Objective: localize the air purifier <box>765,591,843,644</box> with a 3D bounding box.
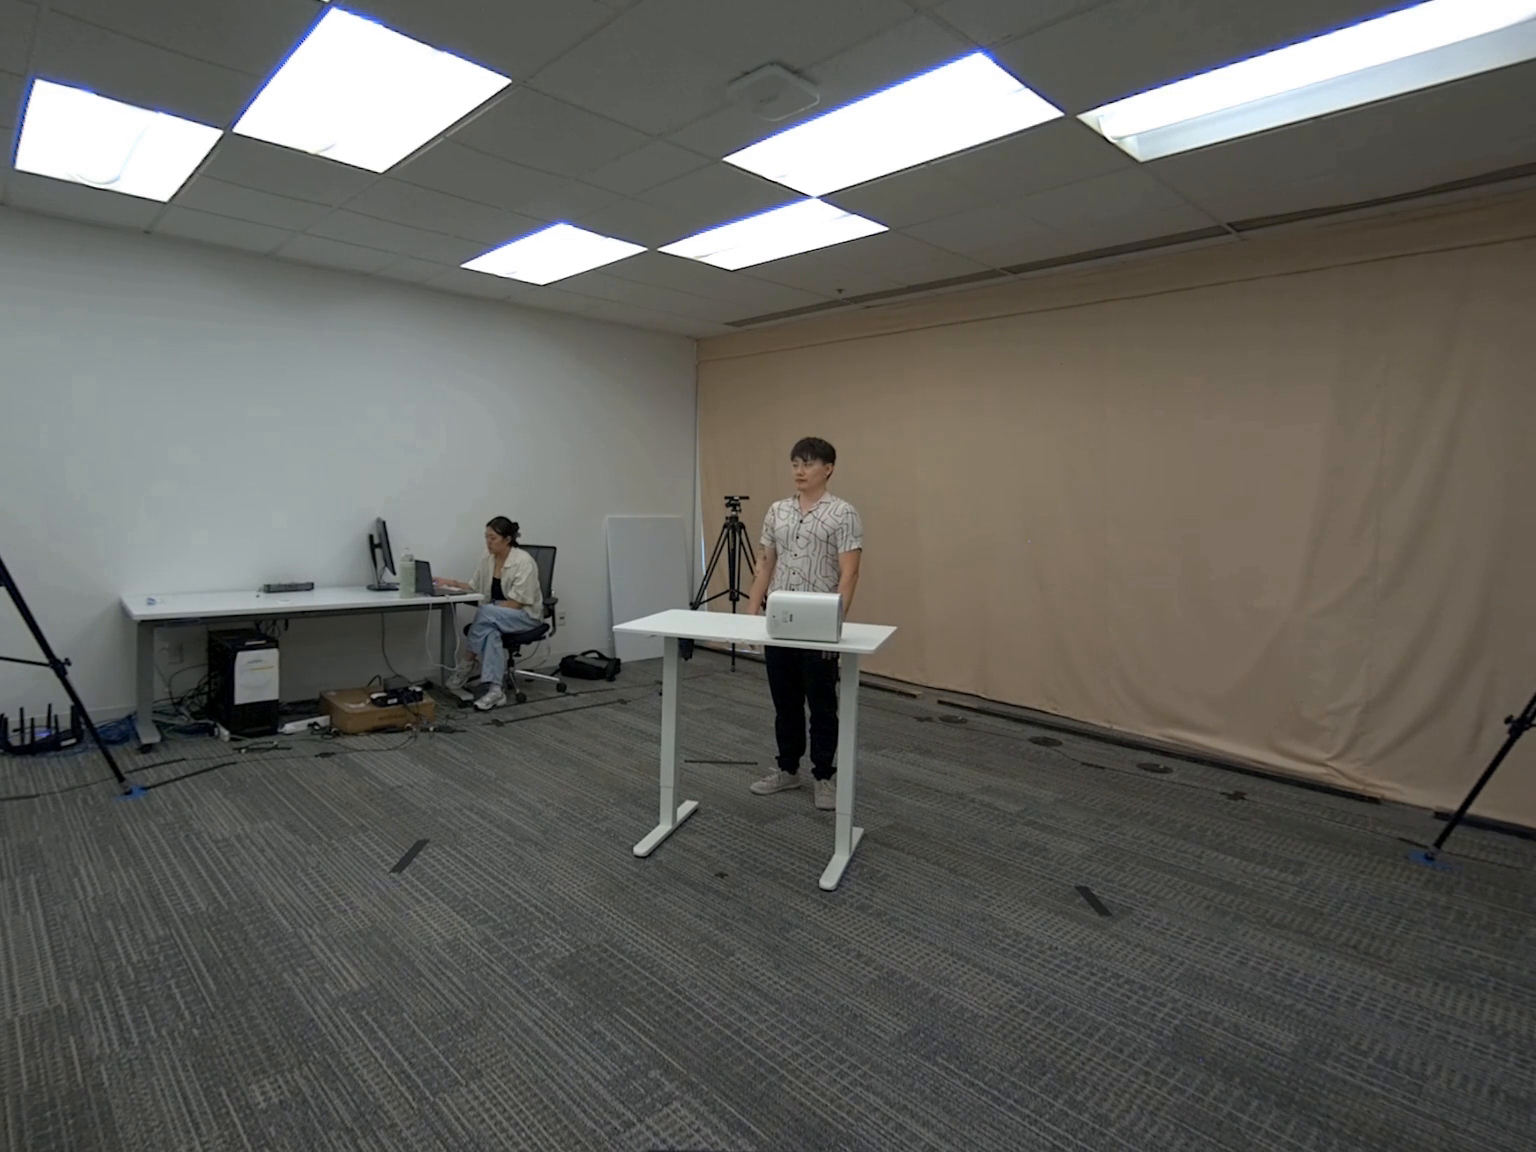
[{"bbox_3d":[0.123,0.144,3.078,0.268,0.170,0.170,3,7,13],"label":"air purifier"}]
